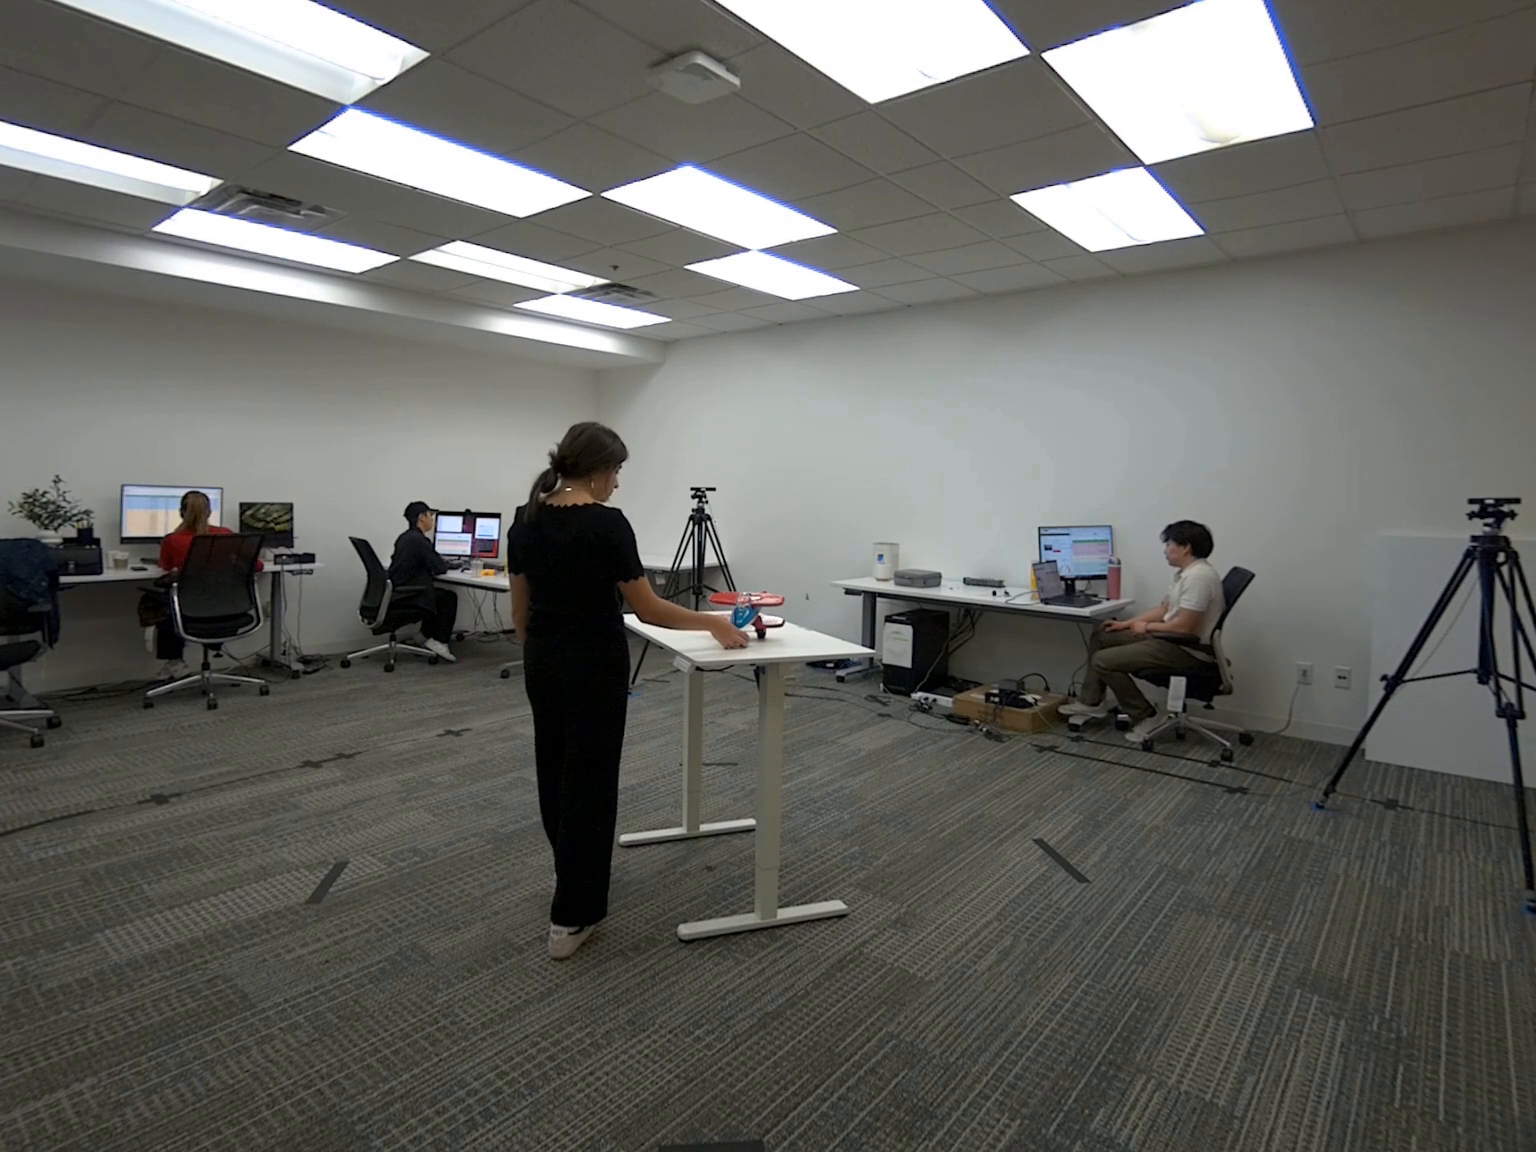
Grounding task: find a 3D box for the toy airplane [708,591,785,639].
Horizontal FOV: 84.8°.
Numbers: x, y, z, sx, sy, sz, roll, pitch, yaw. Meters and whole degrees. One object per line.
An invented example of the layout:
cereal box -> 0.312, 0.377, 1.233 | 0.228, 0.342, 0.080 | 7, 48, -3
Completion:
toy airplane -> -0.067, 0.138, 2.814 | 0.247, 0.156, 0.264 | -1, 4, -17
